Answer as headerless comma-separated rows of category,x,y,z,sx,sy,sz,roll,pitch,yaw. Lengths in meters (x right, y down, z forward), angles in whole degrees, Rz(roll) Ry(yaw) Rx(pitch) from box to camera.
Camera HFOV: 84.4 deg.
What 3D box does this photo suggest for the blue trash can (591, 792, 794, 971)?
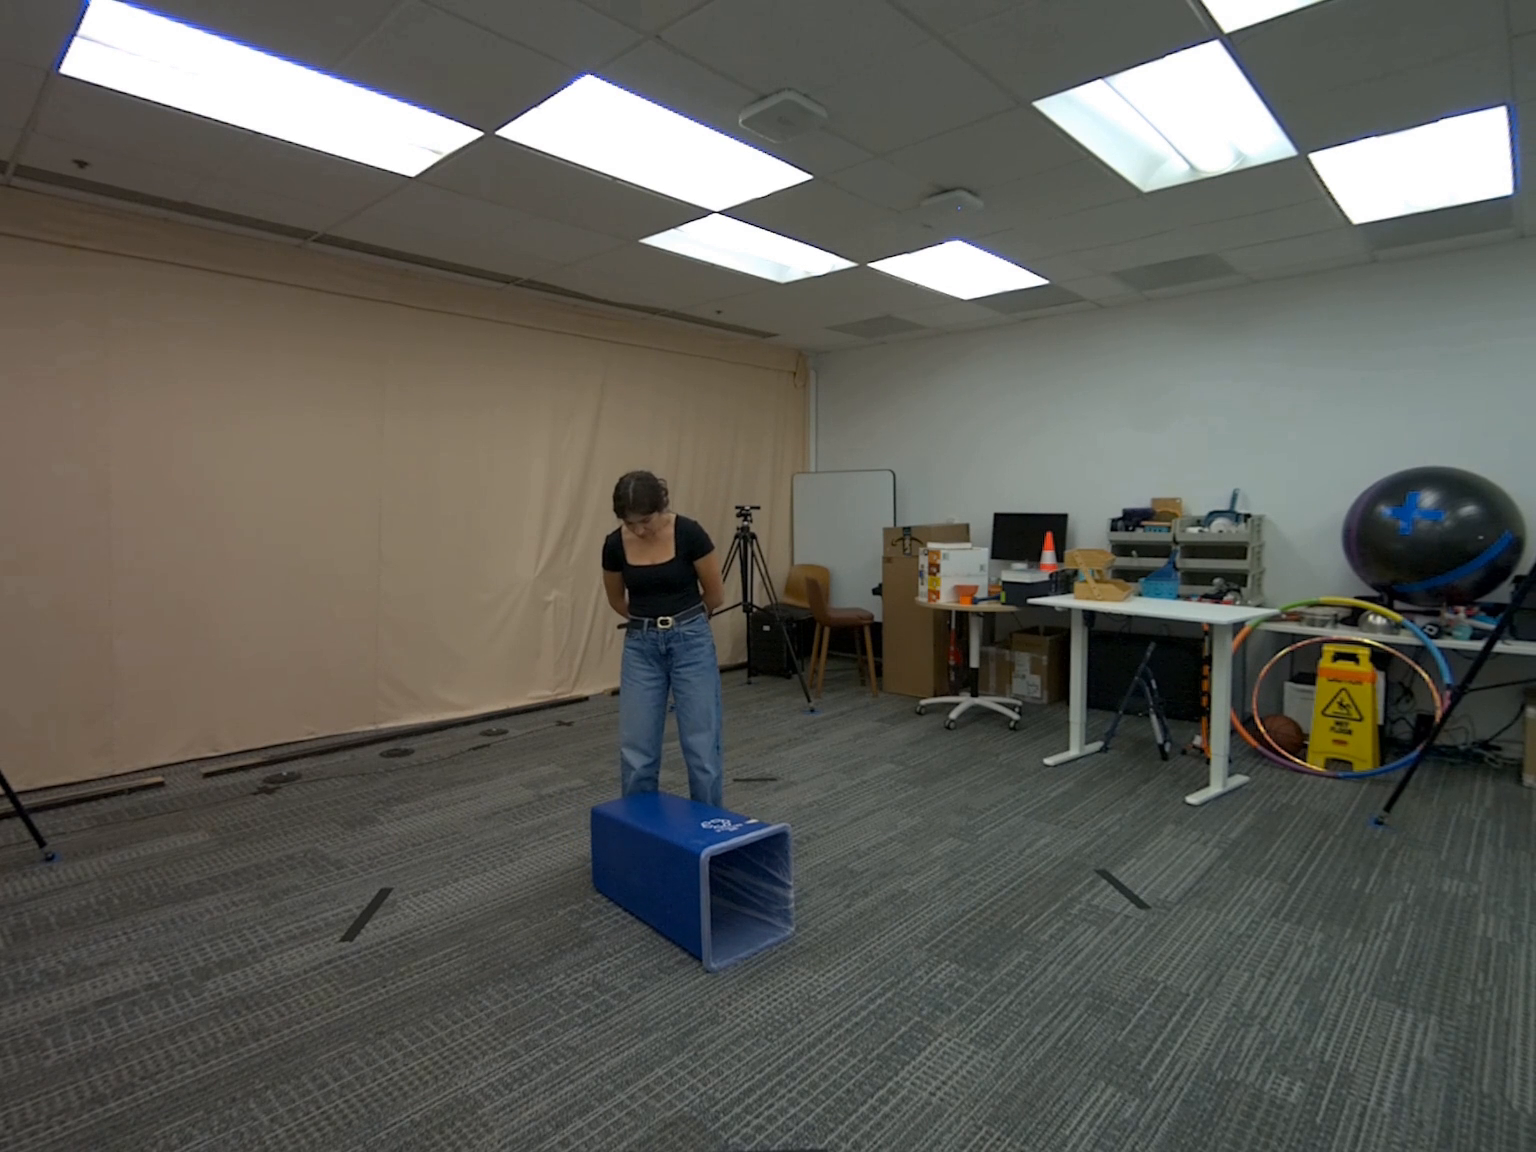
blue trash can,-0.285,0.987,2.877,0.363,0.378,0.736,-4,3,-42
